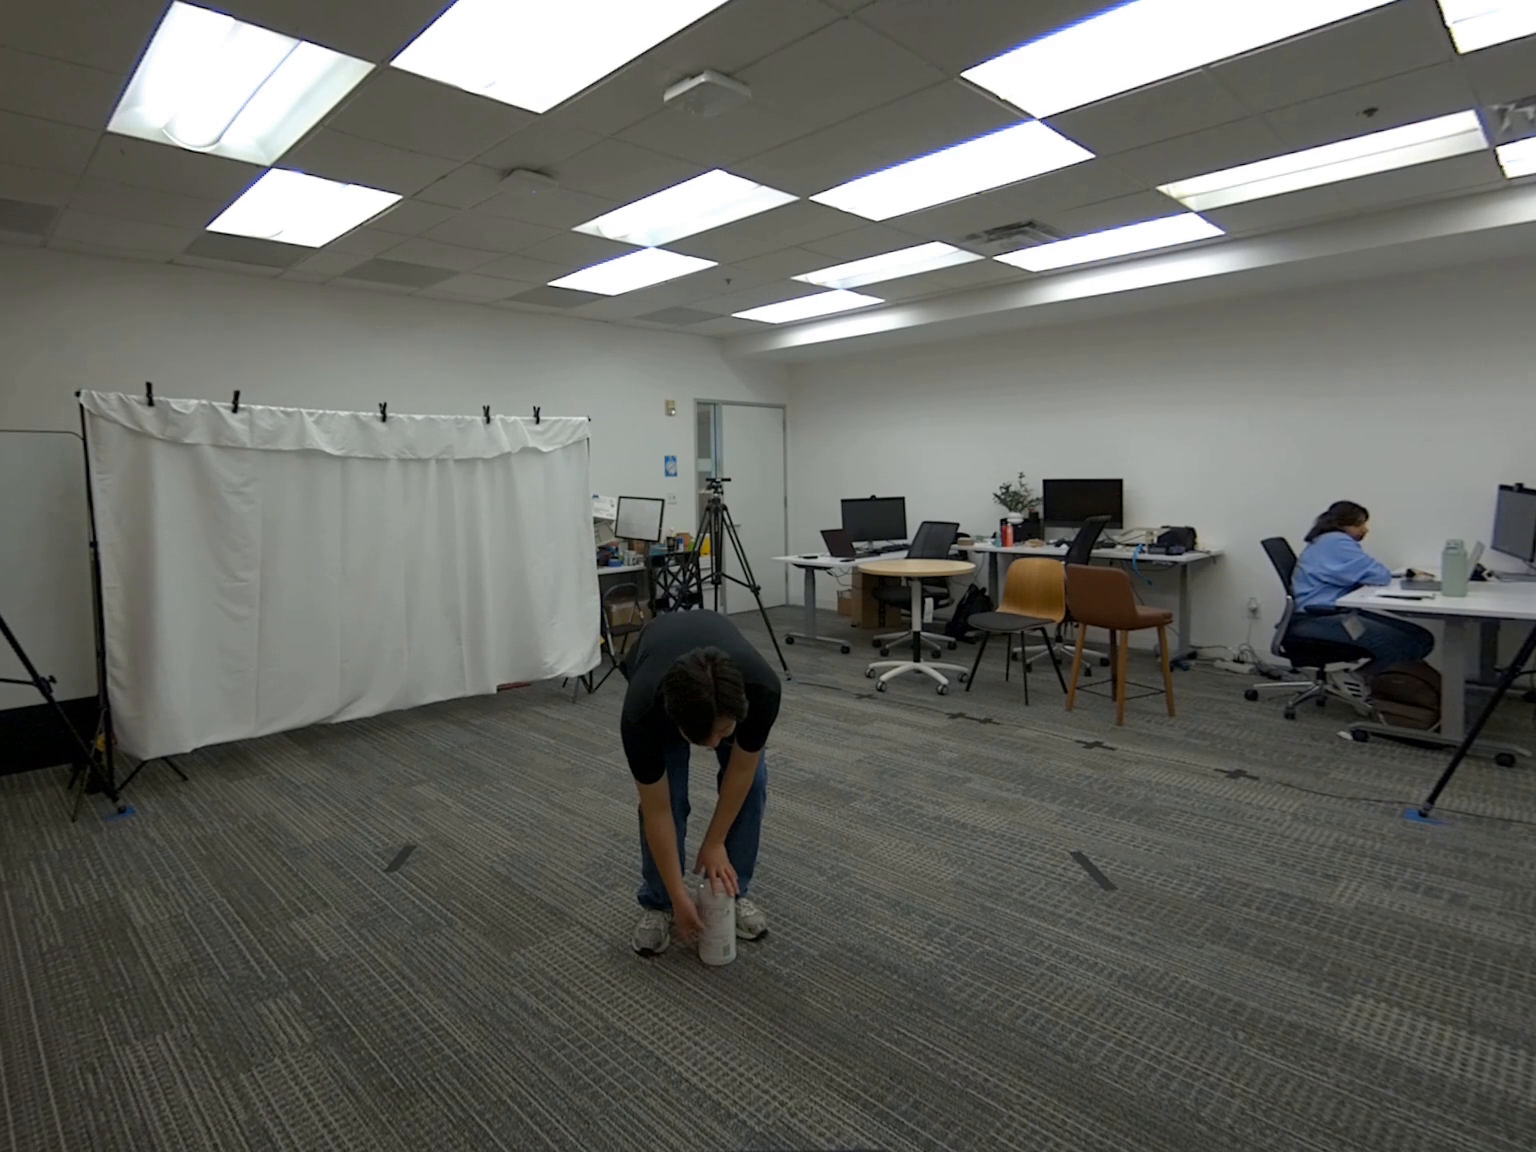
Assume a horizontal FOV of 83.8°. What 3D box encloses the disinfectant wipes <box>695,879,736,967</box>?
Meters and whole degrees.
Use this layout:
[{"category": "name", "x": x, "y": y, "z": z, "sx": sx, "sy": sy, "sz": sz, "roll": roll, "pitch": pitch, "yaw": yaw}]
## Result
[{"category": "disinfectant wipes", "x": -0.149, "y": 1.018, "z": 2.492, "sx": 0.118, "sy": 0.216, "sz": 0.118, "roll": -2, "pitch": 6, "yaw": -1}]
